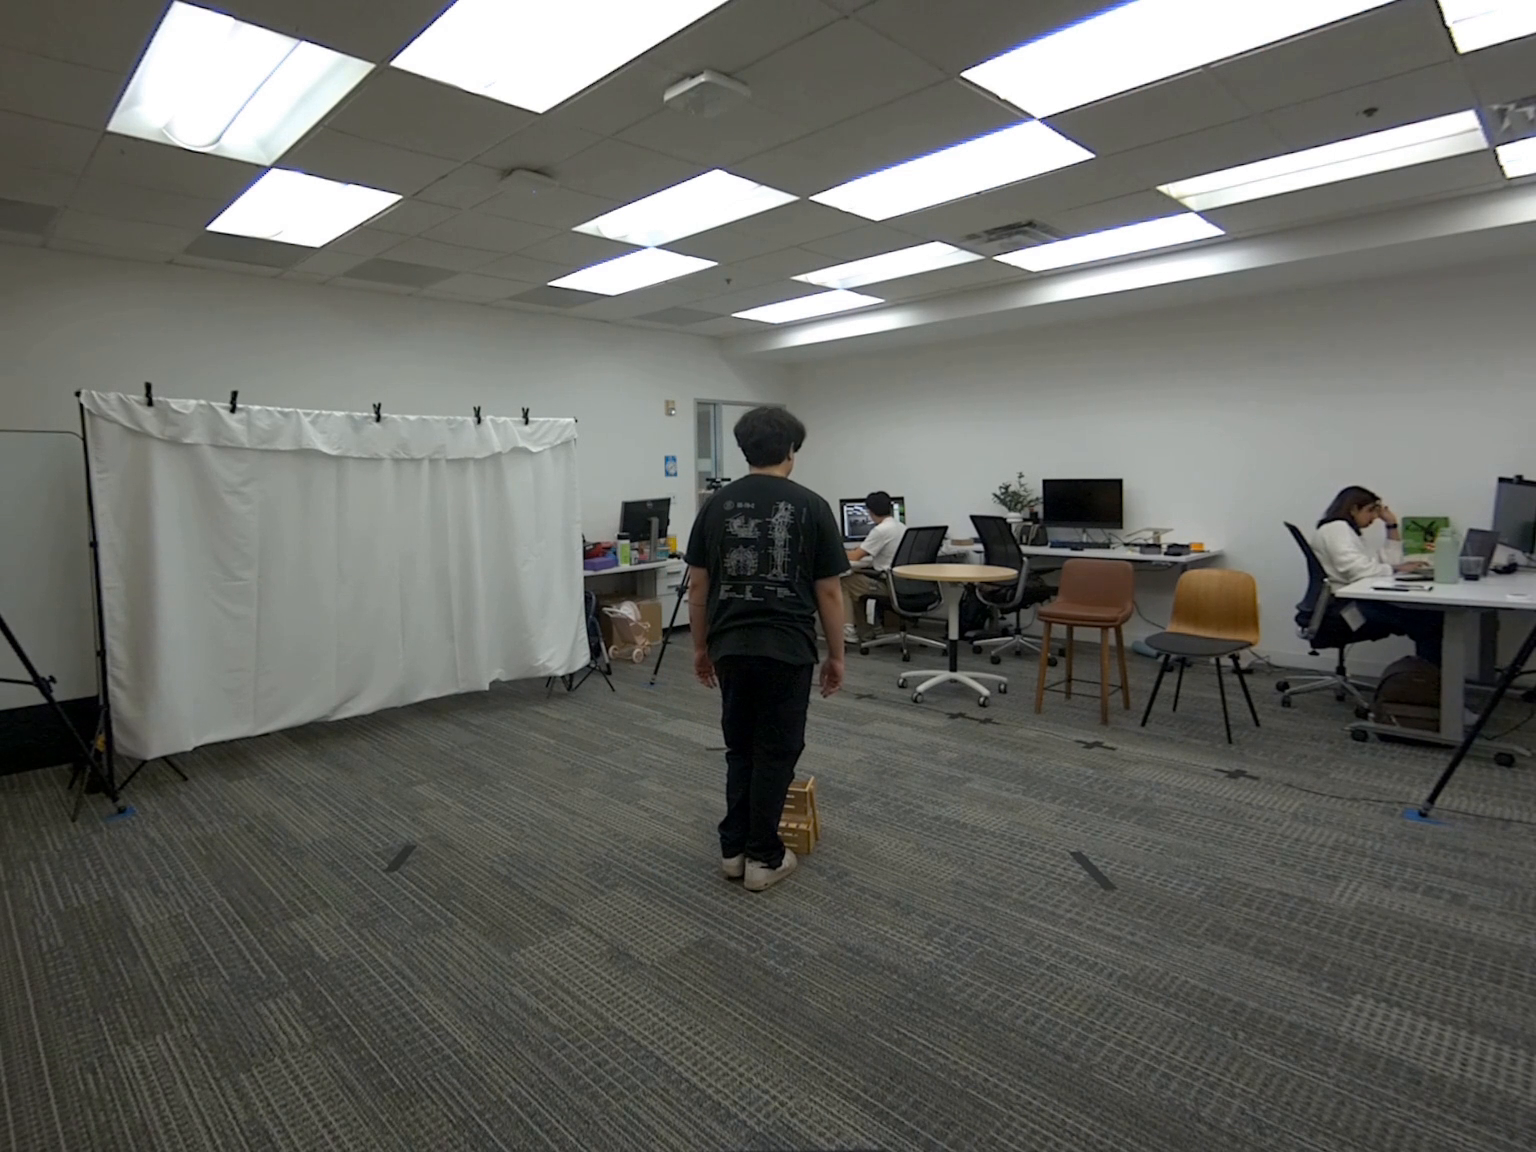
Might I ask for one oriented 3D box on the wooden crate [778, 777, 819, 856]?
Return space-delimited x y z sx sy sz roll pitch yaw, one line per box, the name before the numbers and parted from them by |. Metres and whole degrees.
wooden crate | 0.038 0.886 3.299 0.329 0.272 0.299 1 5 14
